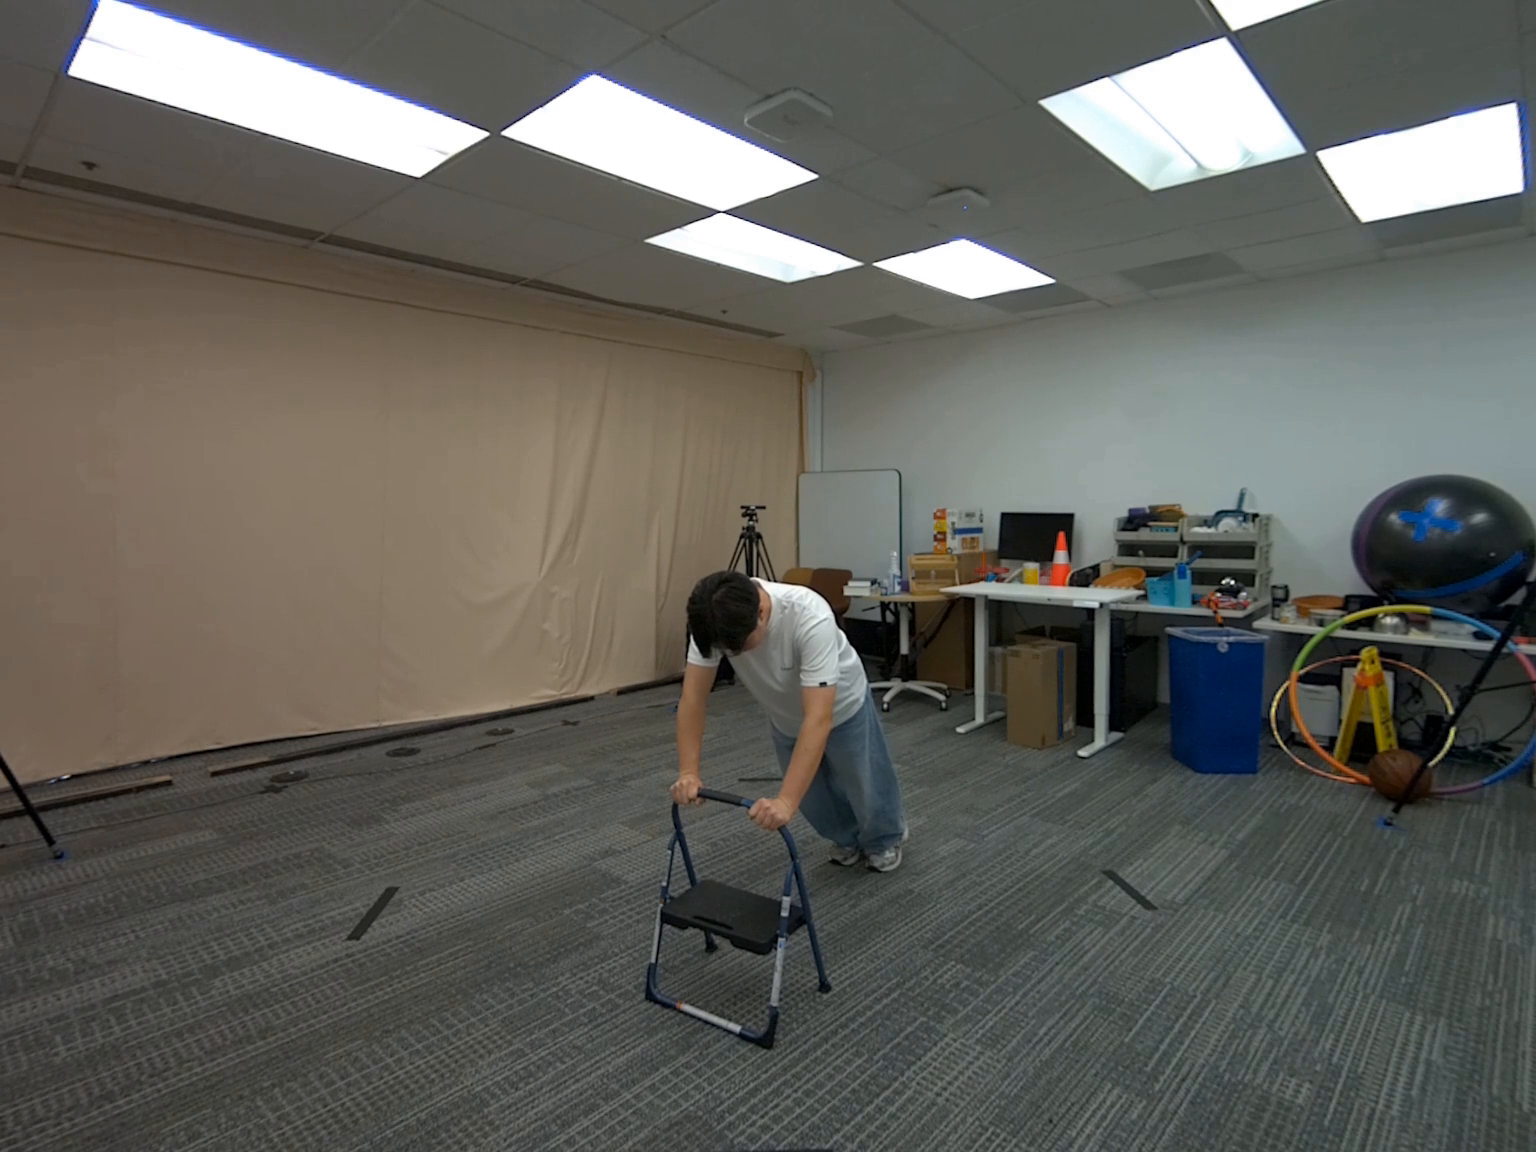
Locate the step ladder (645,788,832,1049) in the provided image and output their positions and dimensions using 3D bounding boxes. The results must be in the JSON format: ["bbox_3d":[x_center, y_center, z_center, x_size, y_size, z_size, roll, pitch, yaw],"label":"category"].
[{"bbox_3d":[-0.088,0.891,2.385,0.443,0.604,0.340,2,4,31],"label":"step ladder"}]
